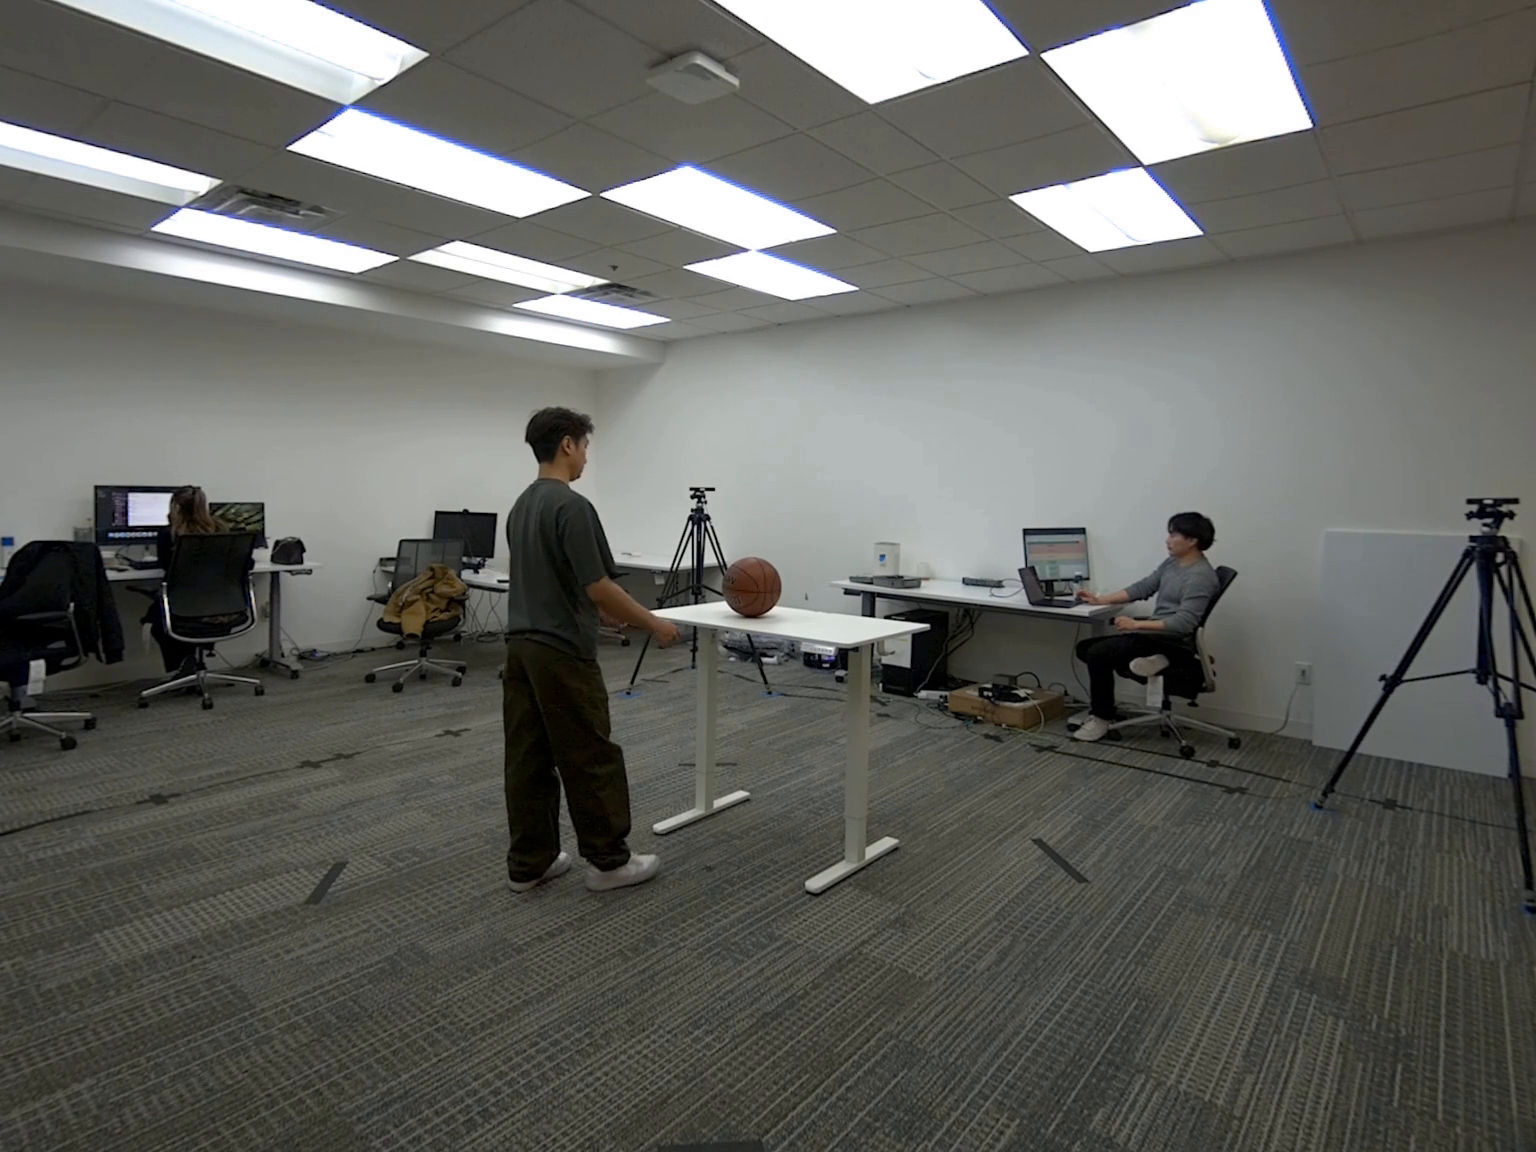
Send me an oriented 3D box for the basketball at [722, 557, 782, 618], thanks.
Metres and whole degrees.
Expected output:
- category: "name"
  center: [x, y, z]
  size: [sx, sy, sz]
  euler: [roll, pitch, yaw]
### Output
- category: "basketball"
  center: [-0.073, 0.040, 3.401]
  size: [0.235, 0.235, 0.237]
  euler: [1, 4, -2]
